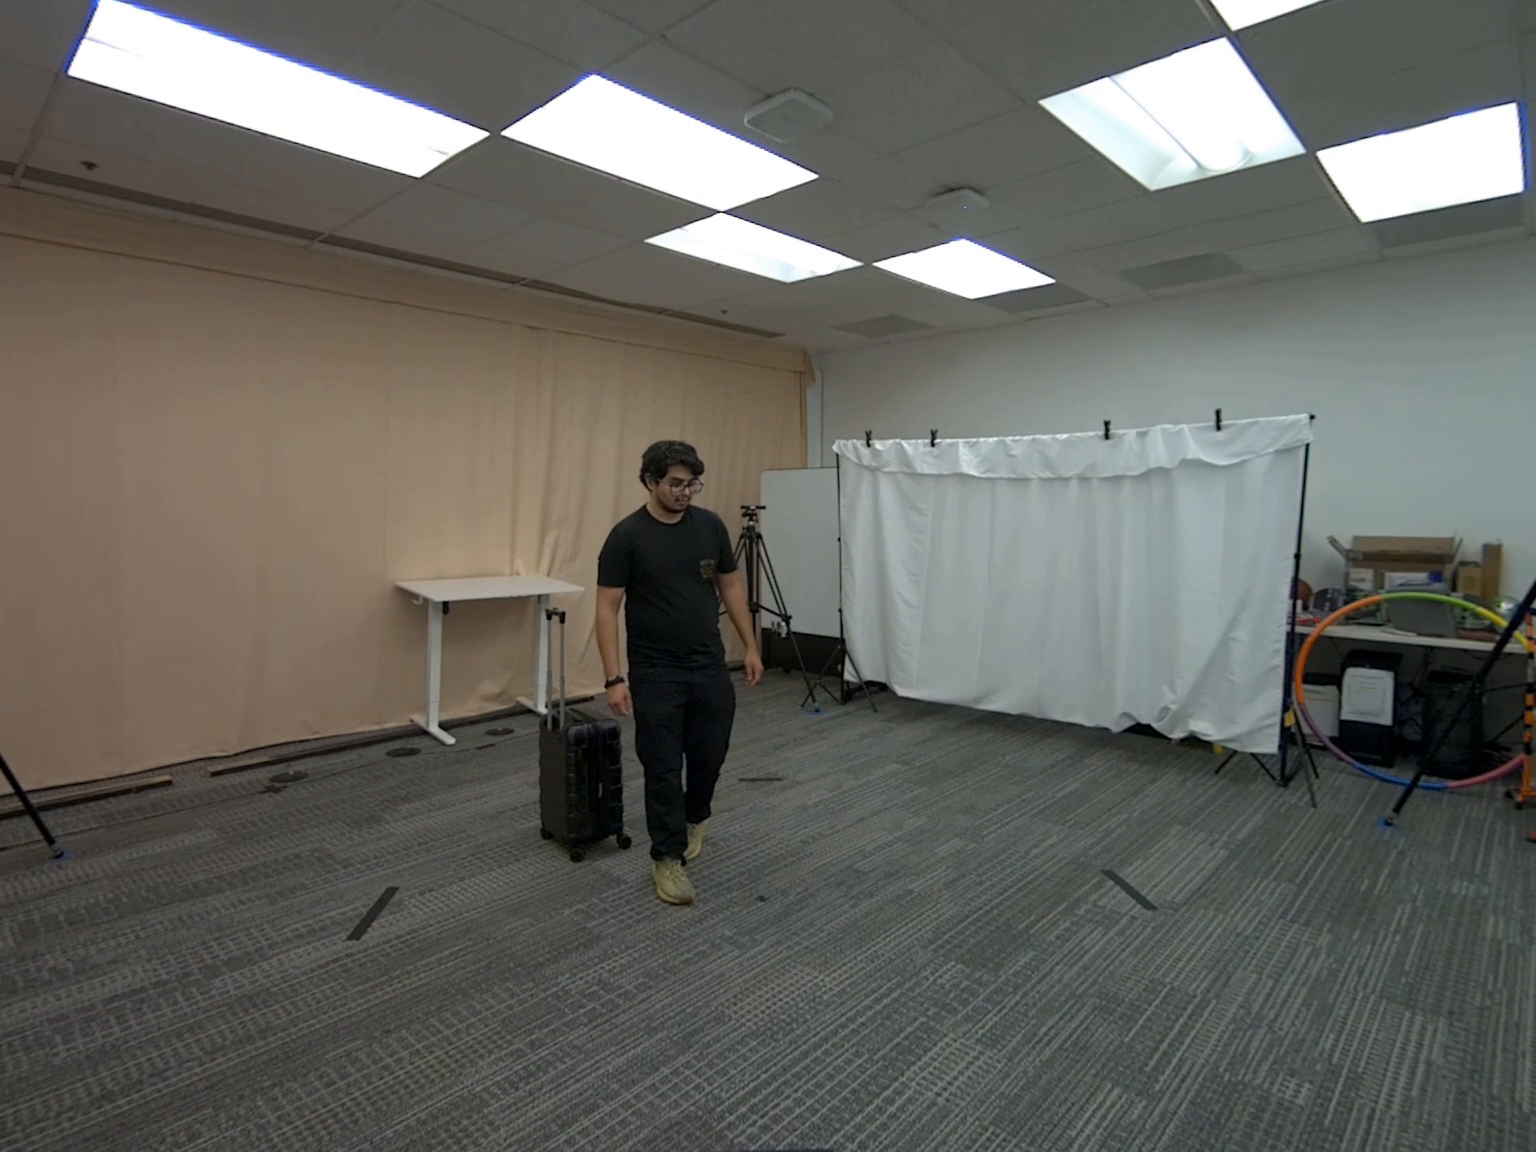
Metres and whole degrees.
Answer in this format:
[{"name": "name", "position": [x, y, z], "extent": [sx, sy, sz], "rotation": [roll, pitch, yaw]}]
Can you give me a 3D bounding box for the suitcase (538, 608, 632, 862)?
[{"name": "suitcase", "position": [-0.782, 0.627, 3.487], "extent": [0.249, 0.977, 0.396], "rotation": [-1, 3, -35]}]
